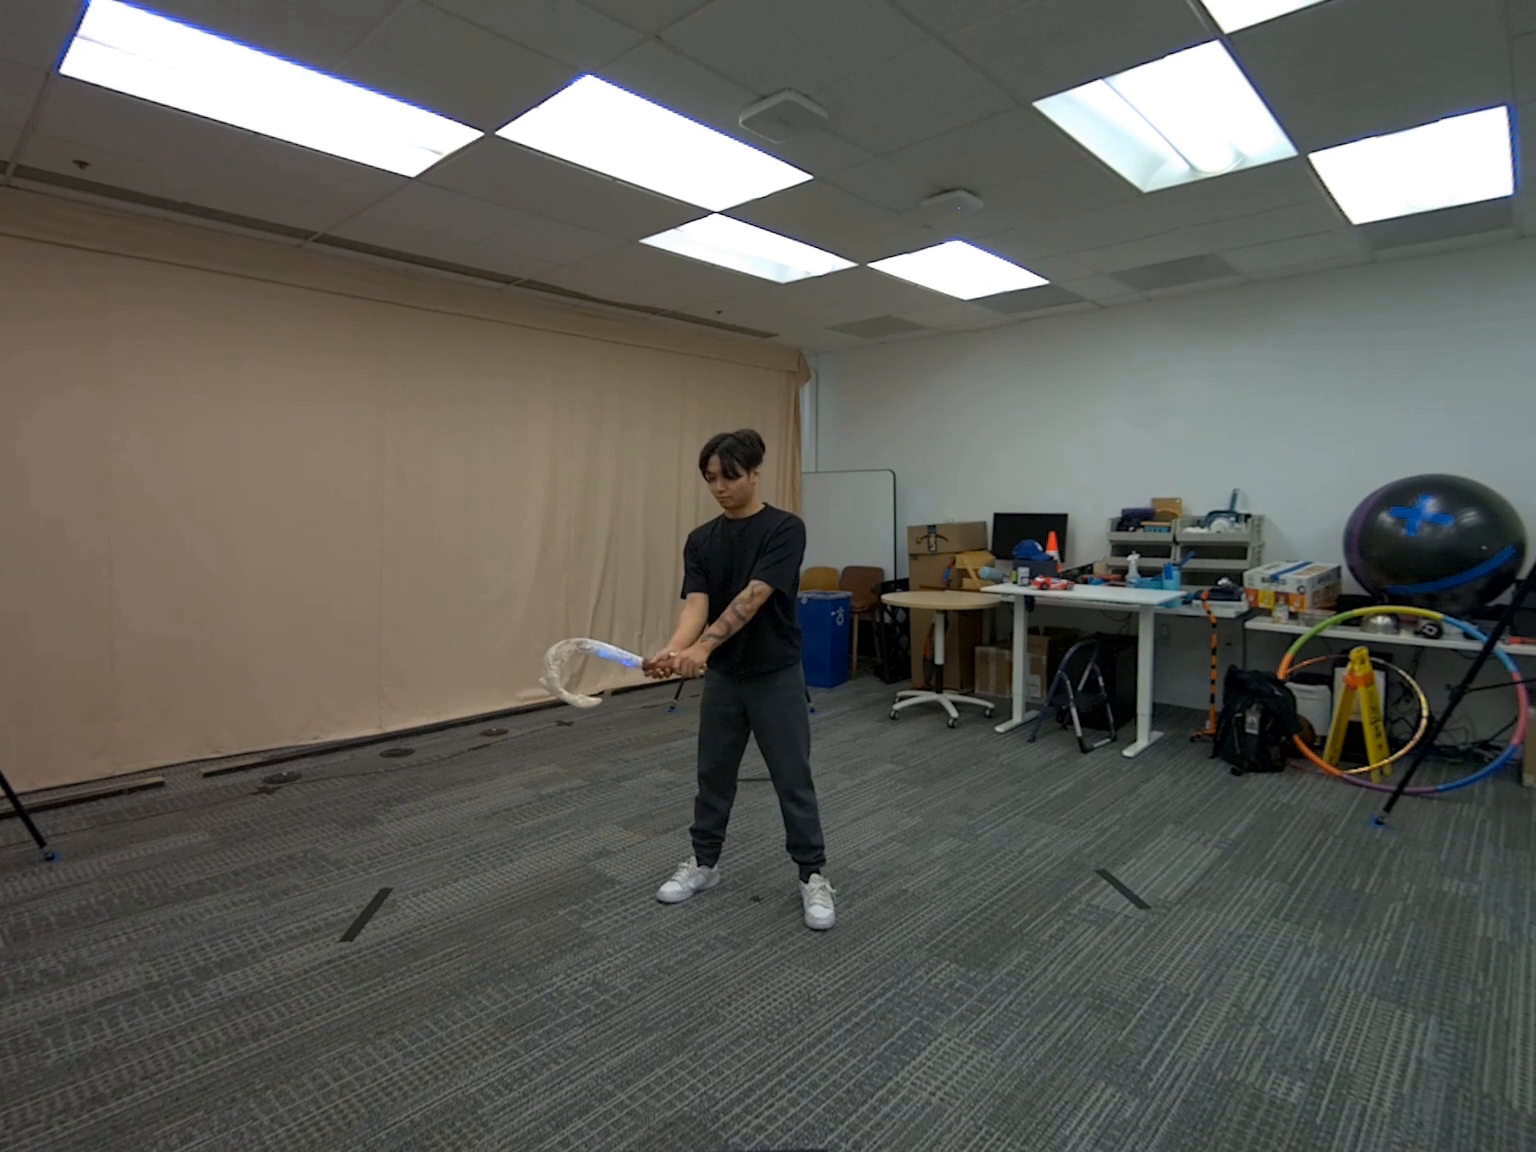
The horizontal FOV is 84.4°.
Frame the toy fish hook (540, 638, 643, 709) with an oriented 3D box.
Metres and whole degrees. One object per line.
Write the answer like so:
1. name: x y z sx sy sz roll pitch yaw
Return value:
1. toy fish hook: -0.435 0.312 2.598 0.507 0.227 0.048 6 -26 0
